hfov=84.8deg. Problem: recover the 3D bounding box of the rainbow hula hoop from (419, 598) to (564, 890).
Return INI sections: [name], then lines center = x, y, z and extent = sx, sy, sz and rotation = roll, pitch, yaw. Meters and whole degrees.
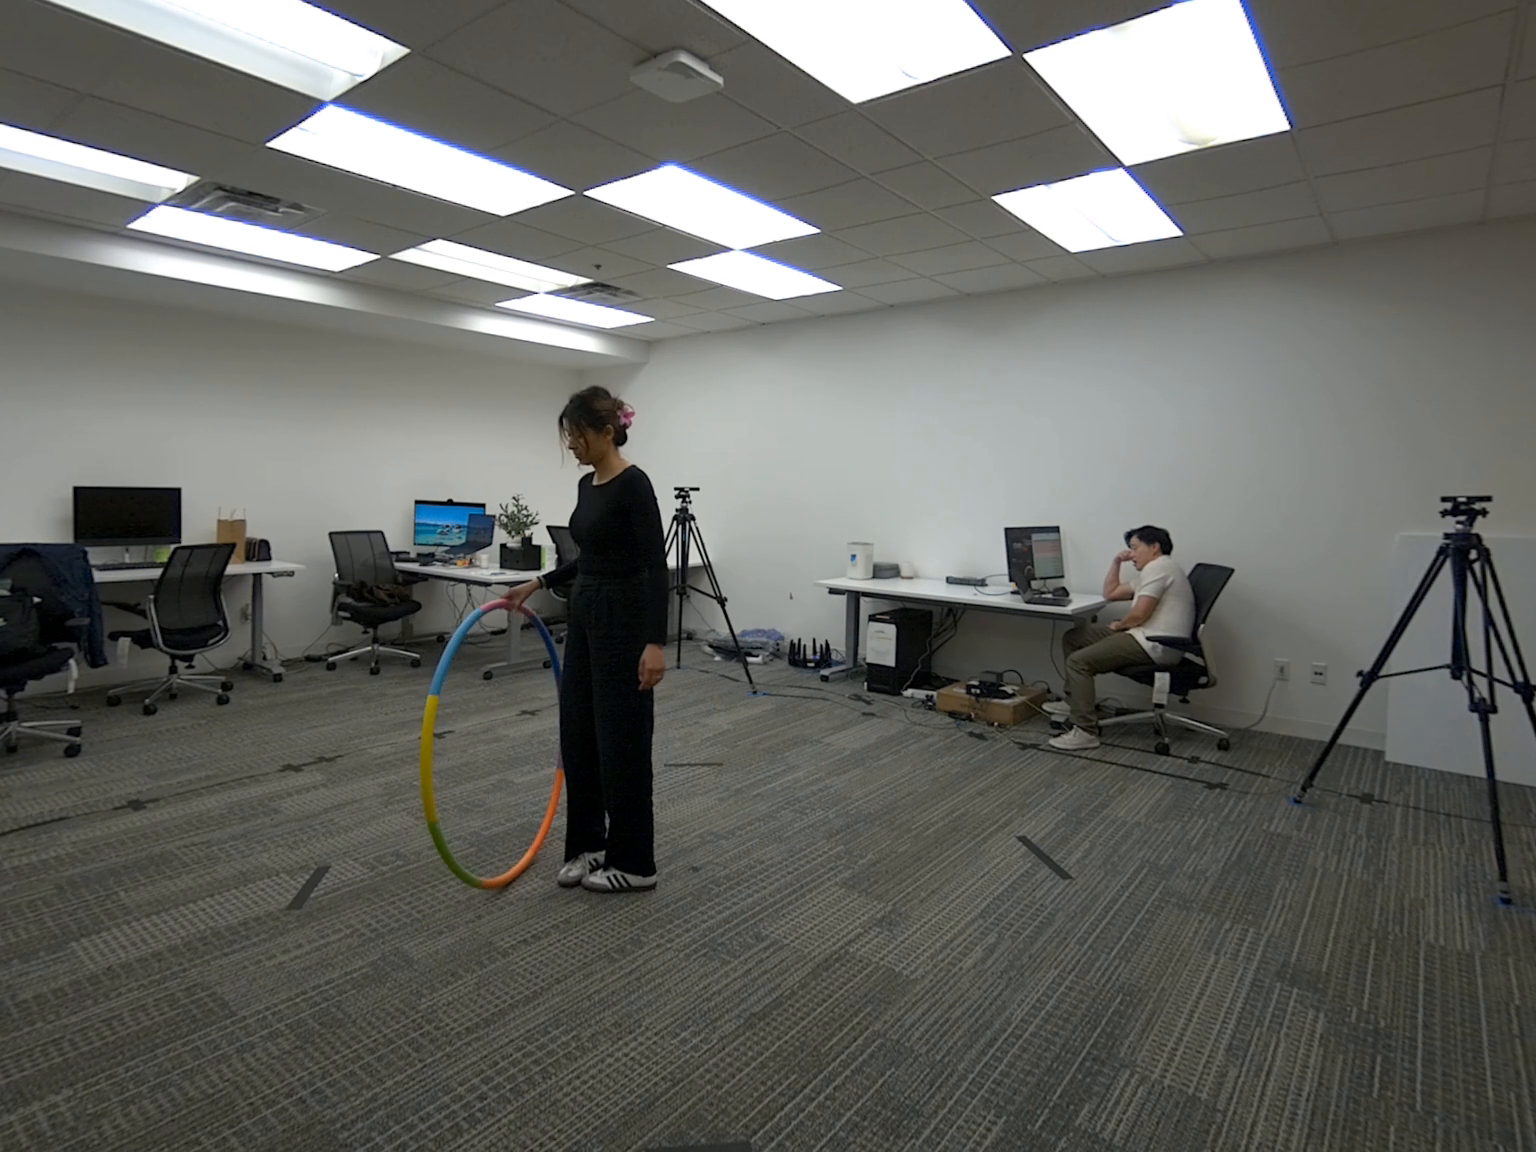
[rainbow hula hoop]
center = -0.928, 0.580, 3.017
extent = 0.036, 0.977, 0.967
rotation = -5, 3, 13
